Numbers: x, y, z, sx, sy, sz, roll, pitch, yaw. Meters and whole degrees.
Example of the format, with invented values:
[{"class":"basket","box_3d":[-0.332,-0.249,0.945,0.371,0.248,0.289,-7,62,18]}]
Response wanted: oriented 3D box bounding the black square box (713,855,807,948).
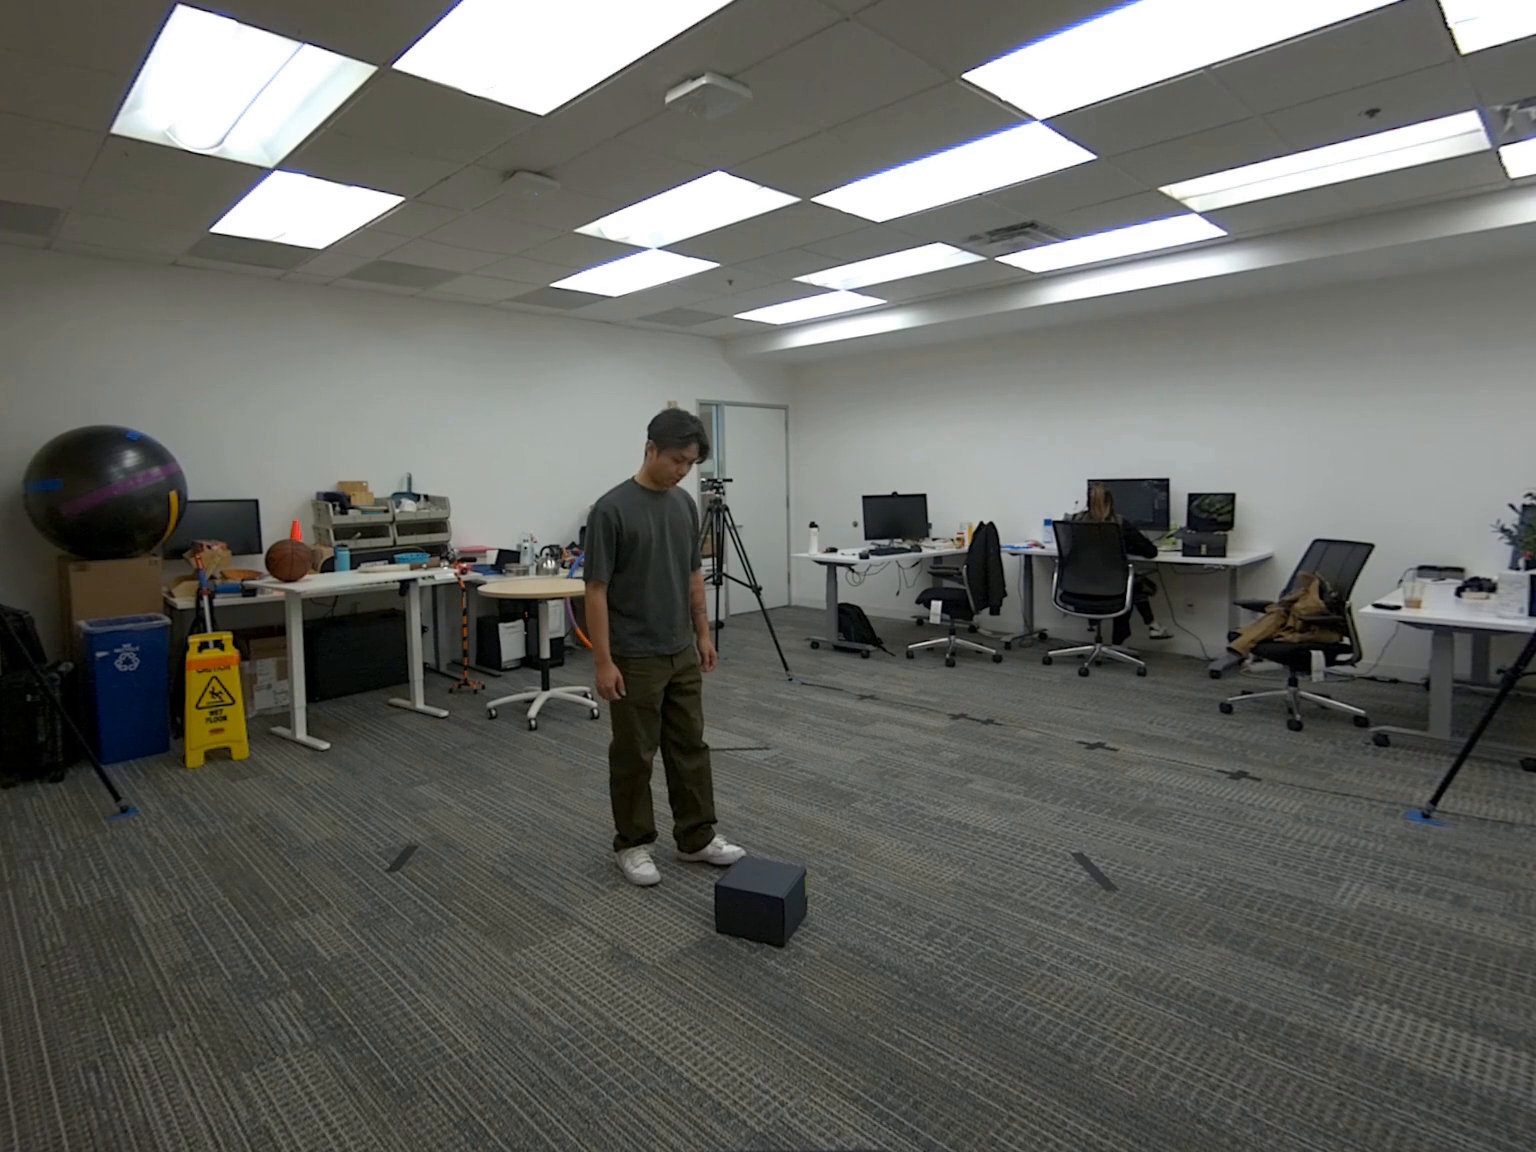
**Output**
[{"class":"black square box","box_3d":[-0.013,1.010,2.678,0.233,0.155,0.213,2,6,24]}]
